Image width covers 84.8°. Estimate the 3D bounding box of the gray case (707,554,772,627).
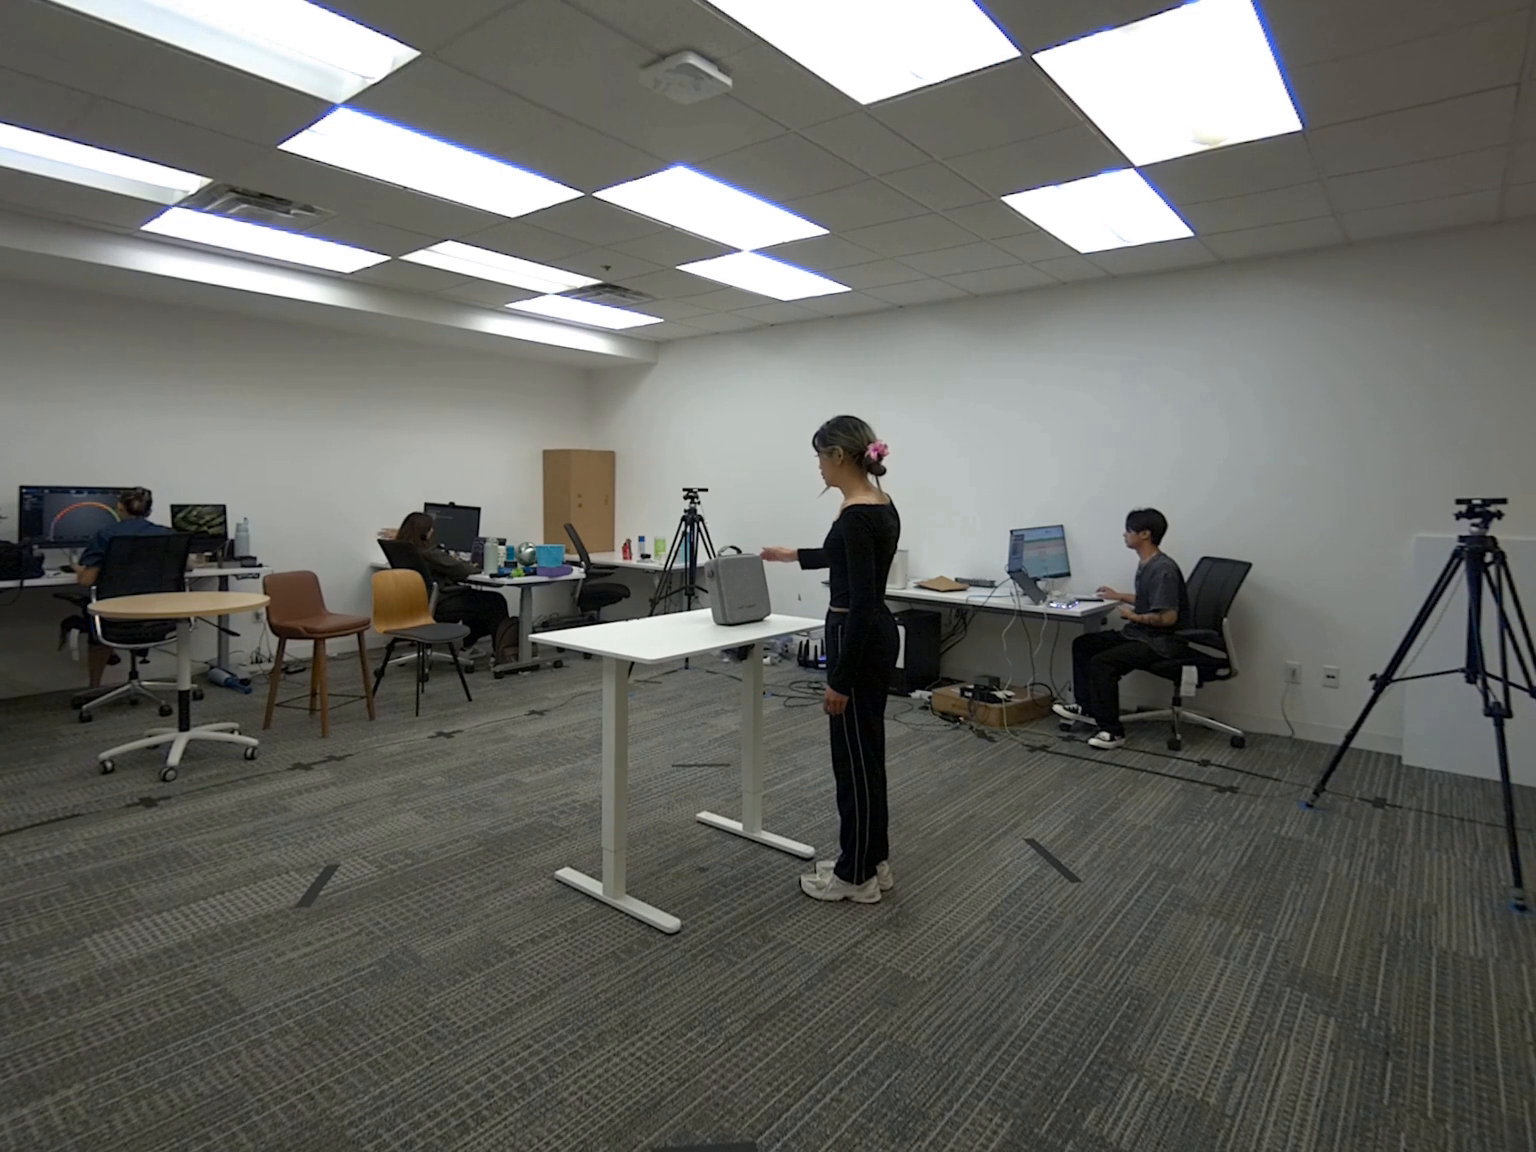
[{"bbox_3d":[-0.127,0.043,3.245,0.107,0.262,0.249,-14,-7,42],"label":"gray case"}]
